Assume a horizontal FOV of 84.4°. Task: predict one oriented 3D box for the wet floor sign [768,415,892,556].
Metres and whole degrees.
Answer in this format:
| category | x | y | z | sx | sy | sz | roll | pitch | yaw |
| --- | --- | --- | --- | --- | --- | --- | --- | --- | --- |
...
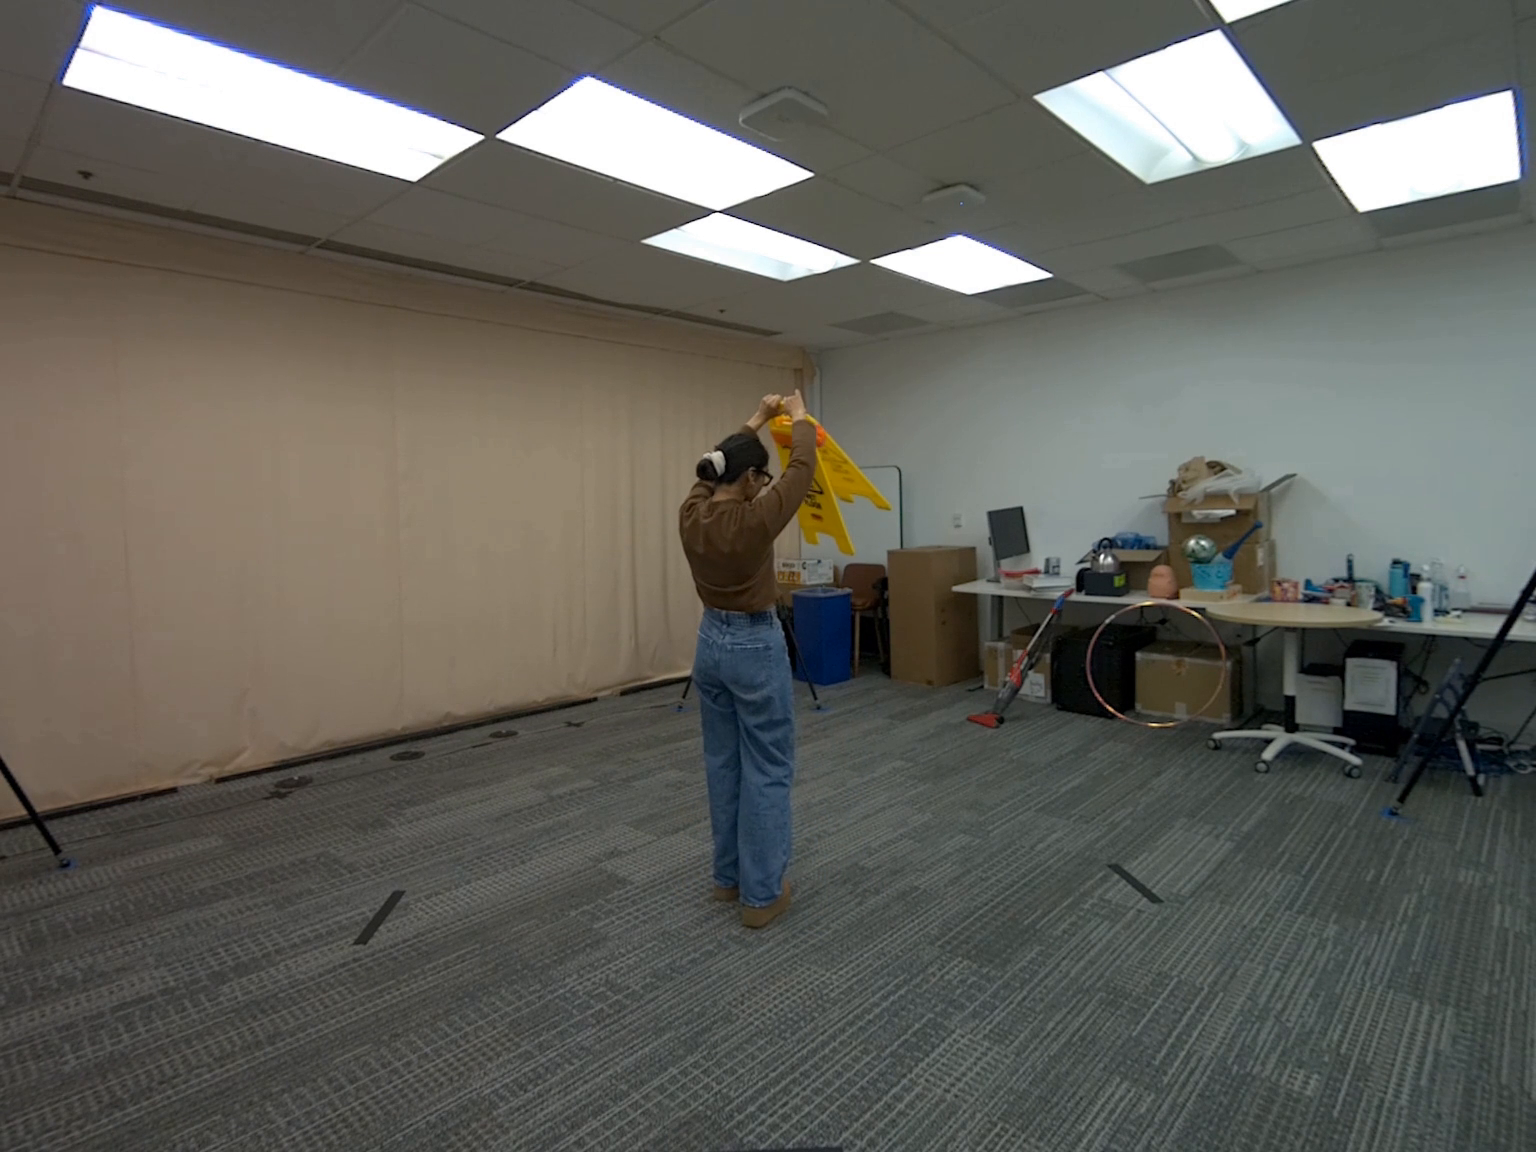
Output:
| category | x | y | z | sx | sy | sz | roll | pitch | yaw |
| --- | --- | --- | --- | --- | --- | --- | --- | --- | --- |
| wet floor sign | 0.195 | -0.423 | 3.280 | 0.288 | 0.627 | 0.292 | -46 | 36 | -21 |
